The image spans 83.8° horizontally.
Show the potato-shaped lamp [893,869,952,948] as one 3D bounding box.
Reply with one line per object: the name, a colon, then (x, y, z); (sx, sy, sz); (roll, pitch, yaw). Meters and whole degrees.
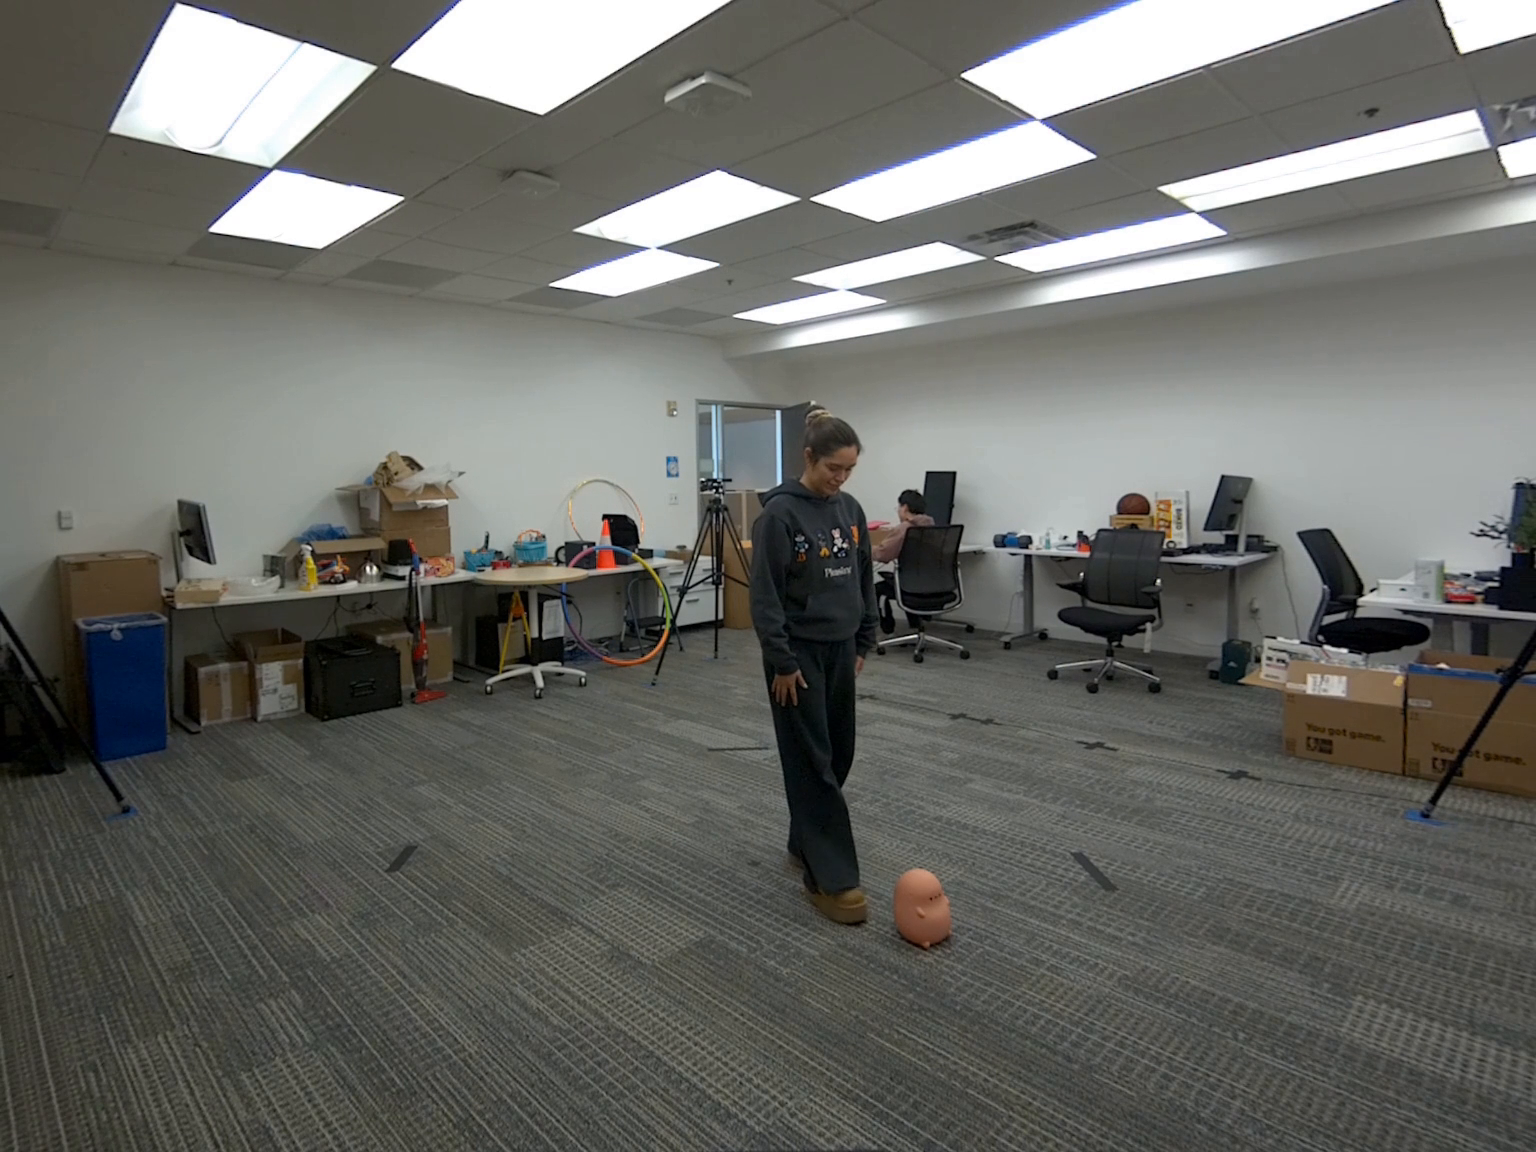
potato-shaped lamp: (0.469, 0.996, 2.581); (0.161, 0.197, 0.176); (-5, 5, -34)
